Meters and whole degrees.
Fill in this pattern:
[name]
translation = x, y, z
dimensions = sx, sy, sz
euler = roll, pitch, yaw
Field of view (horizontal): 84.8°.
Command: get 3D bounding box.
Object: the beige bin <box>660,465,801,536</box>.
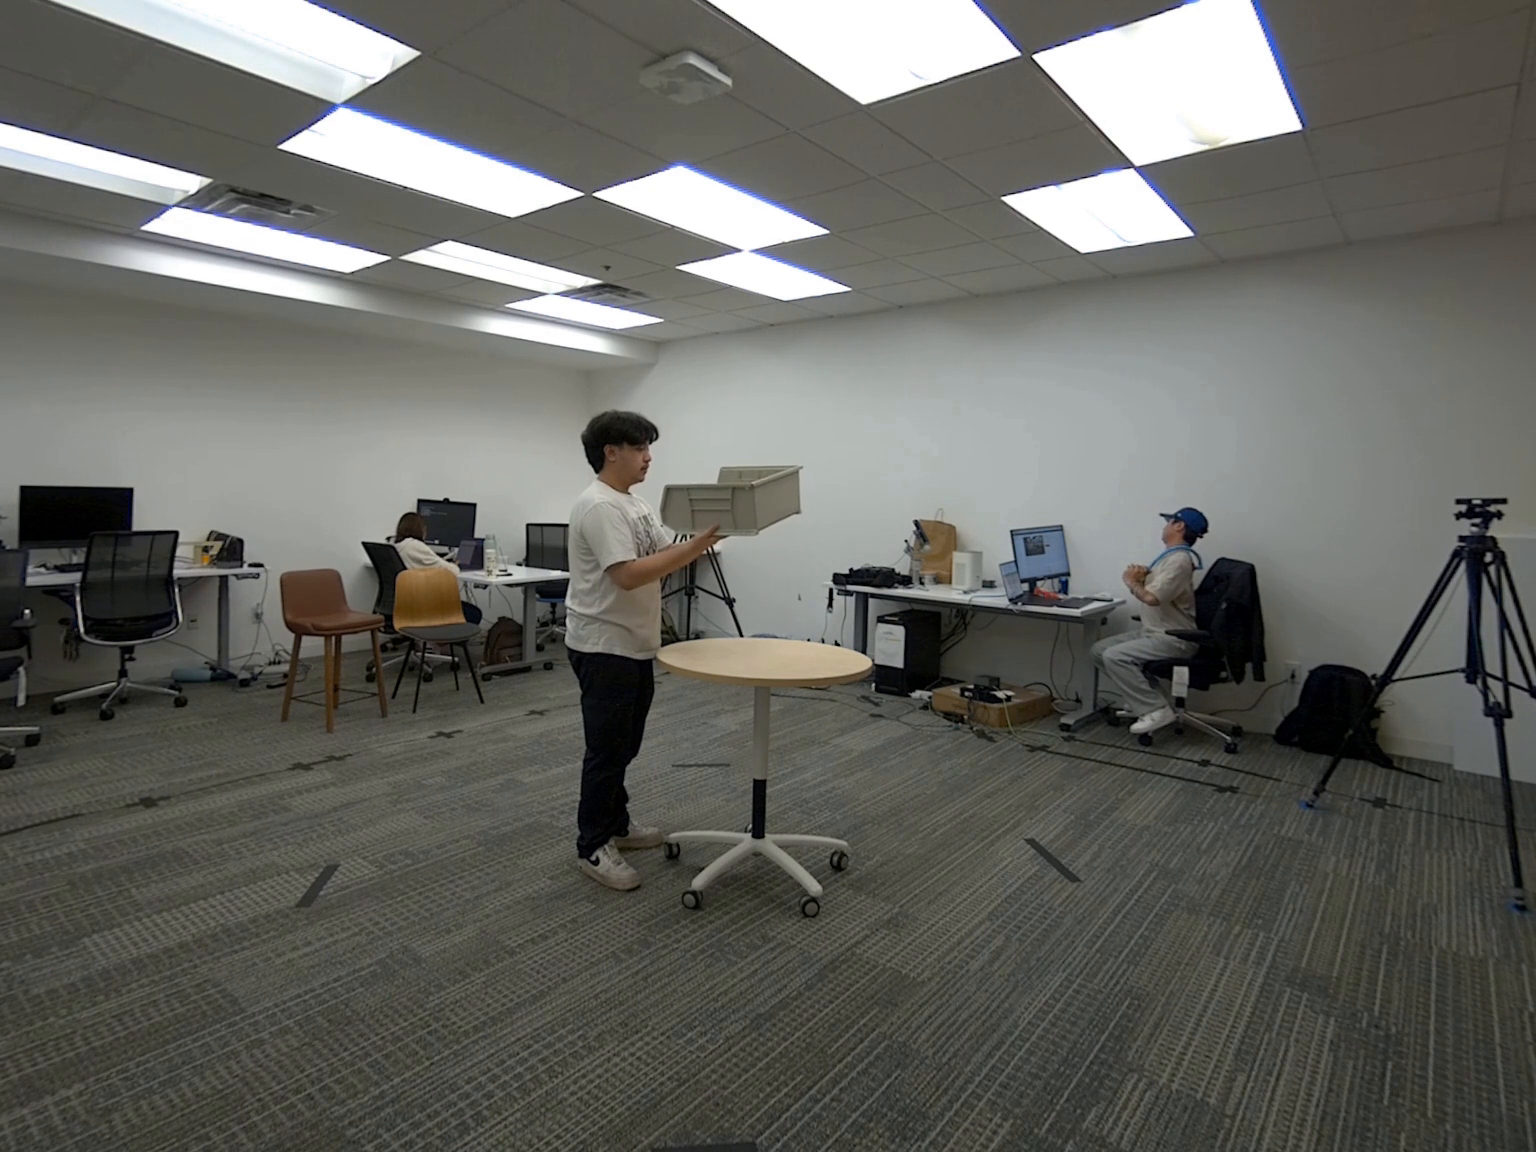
[beige bin]
translation = -0.137, -0.278, 3.067
dimensions = 0.387, 0.186, 0.416
euler = 3, 15, 26
